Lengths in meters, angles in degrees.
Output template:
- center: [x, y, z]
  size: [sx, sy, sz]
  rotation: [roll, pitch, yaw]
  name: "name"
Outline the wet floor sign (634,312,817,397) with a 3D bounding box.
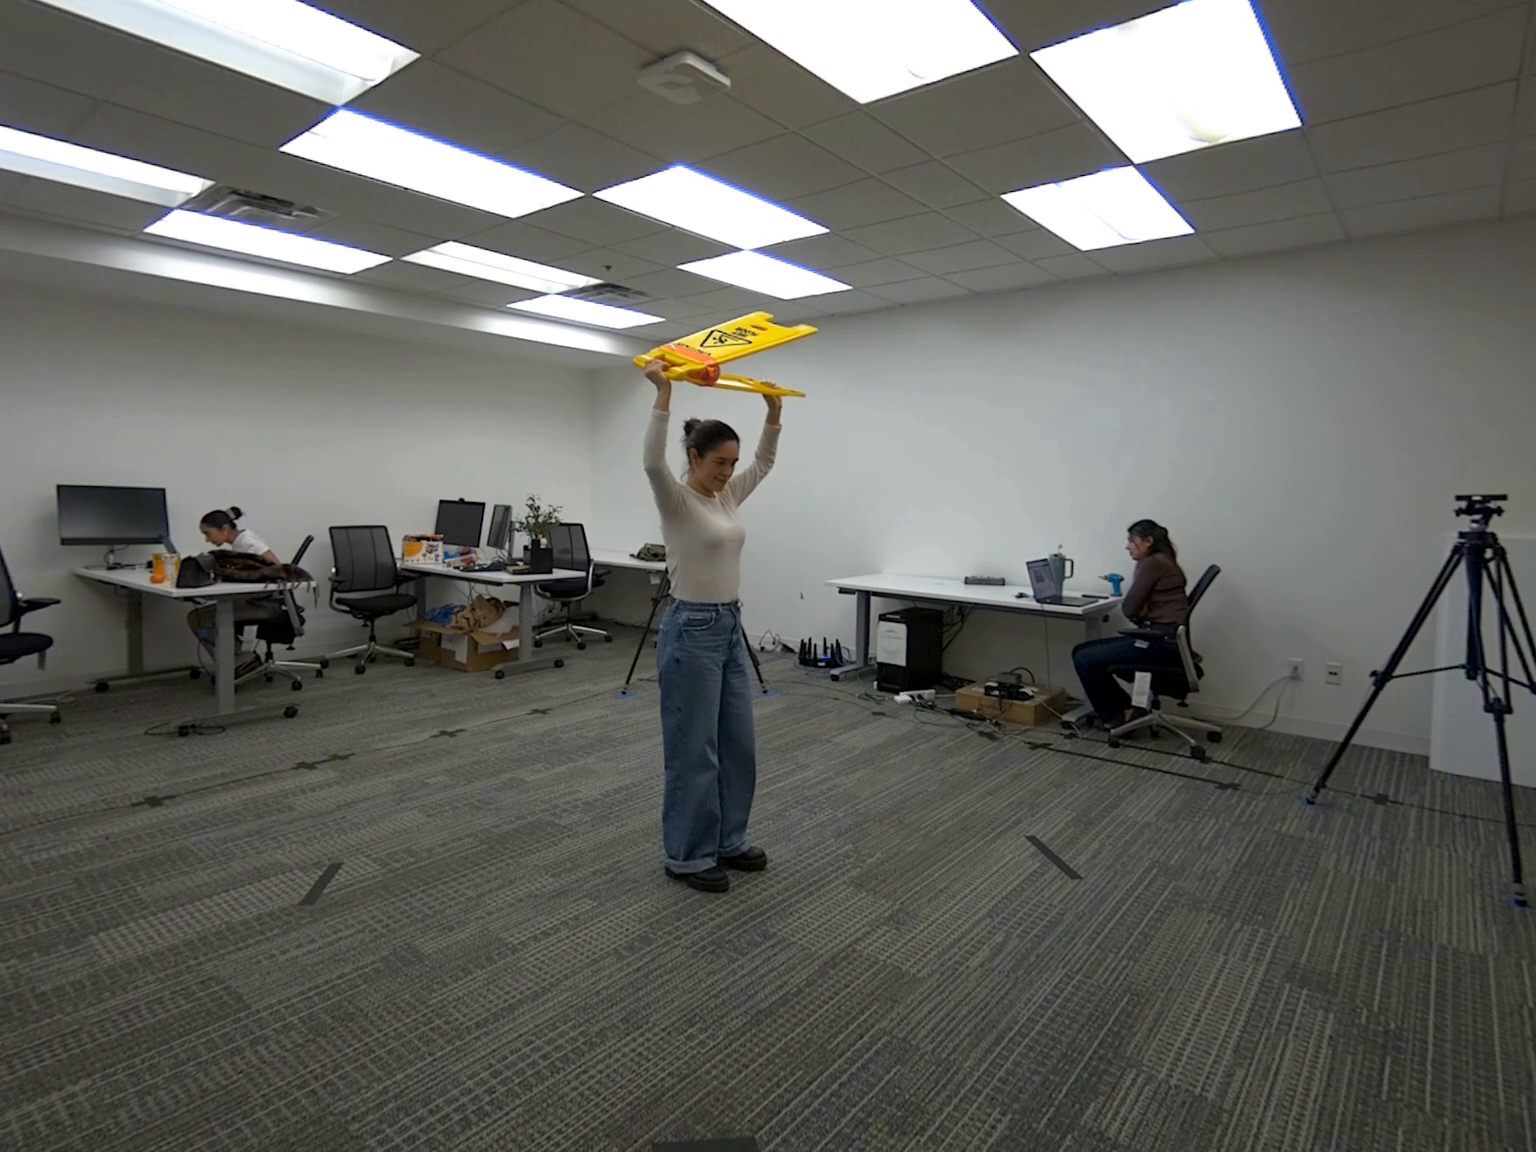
- center: [-0.163, -0.726, 2.864]
  size: [0.293, 0.284, 0.633]
  rotation: [26, 30, 33]
  name: "wet floor sign"
